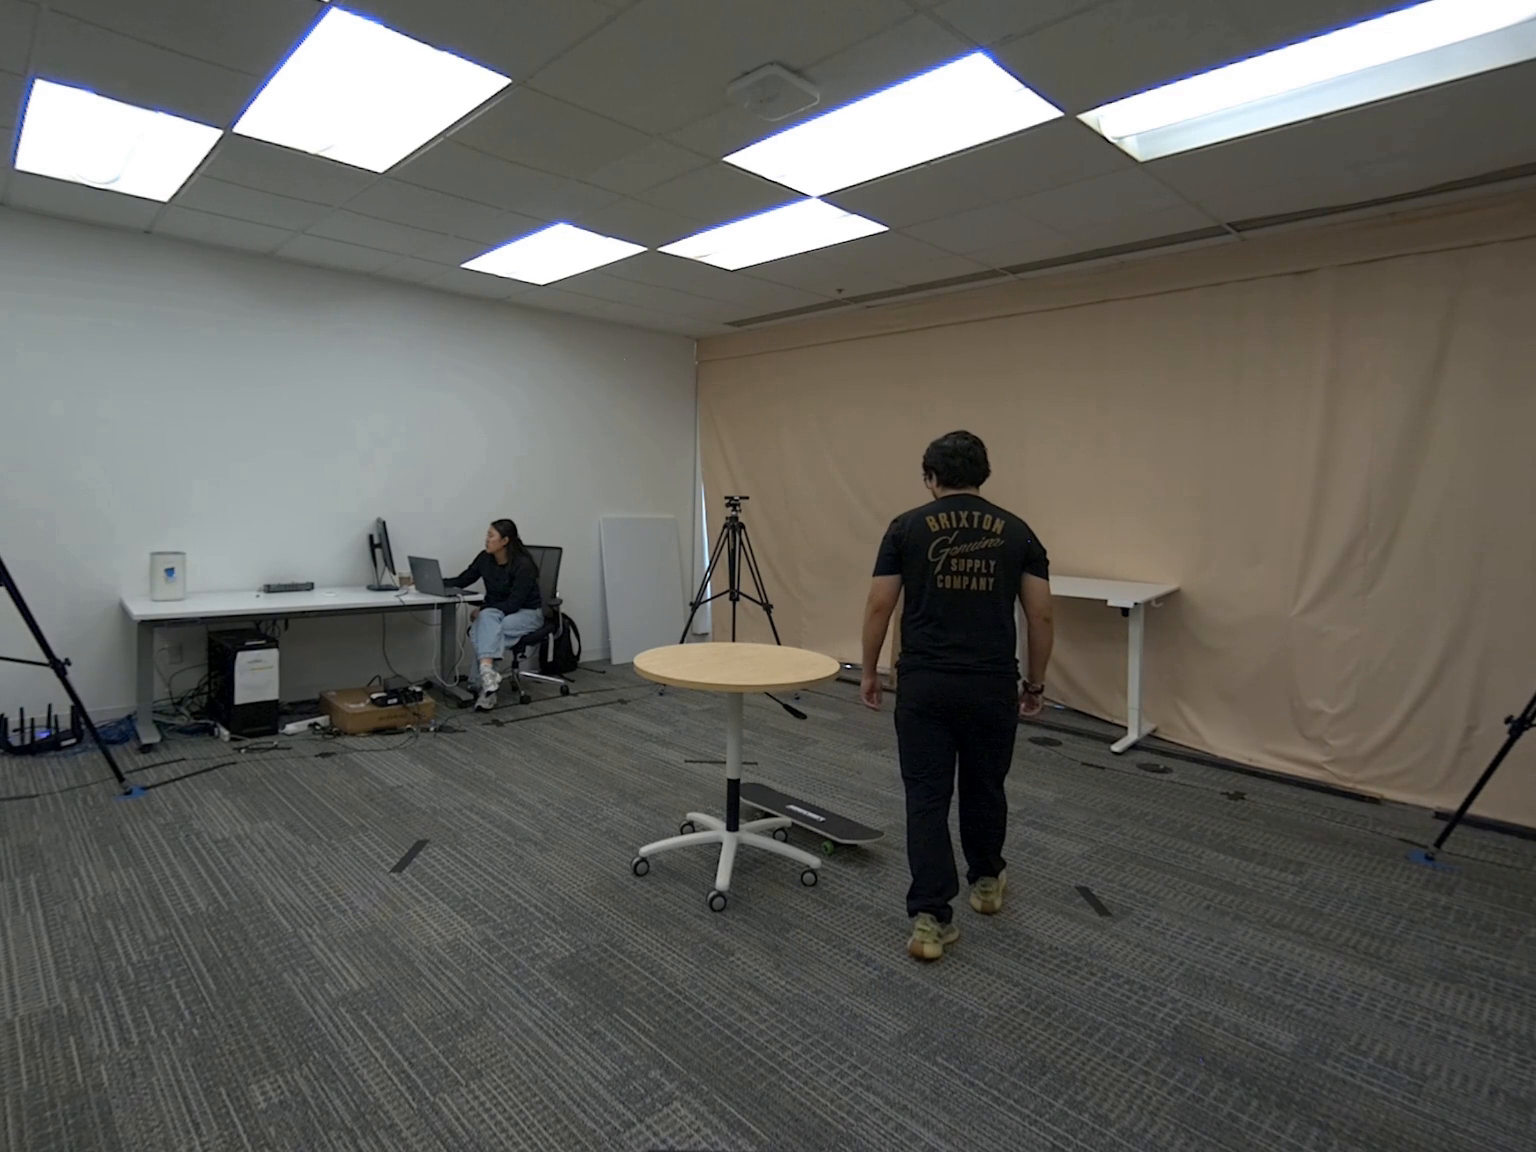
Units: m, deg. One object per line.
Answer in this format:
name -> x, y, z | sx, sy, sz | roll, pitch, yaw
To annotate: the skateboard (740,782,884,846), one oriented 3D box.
skateboard -> 0.148, 1.019, 3.509 | 0.189, 0.110, 0.806 | -1, 6, -42
